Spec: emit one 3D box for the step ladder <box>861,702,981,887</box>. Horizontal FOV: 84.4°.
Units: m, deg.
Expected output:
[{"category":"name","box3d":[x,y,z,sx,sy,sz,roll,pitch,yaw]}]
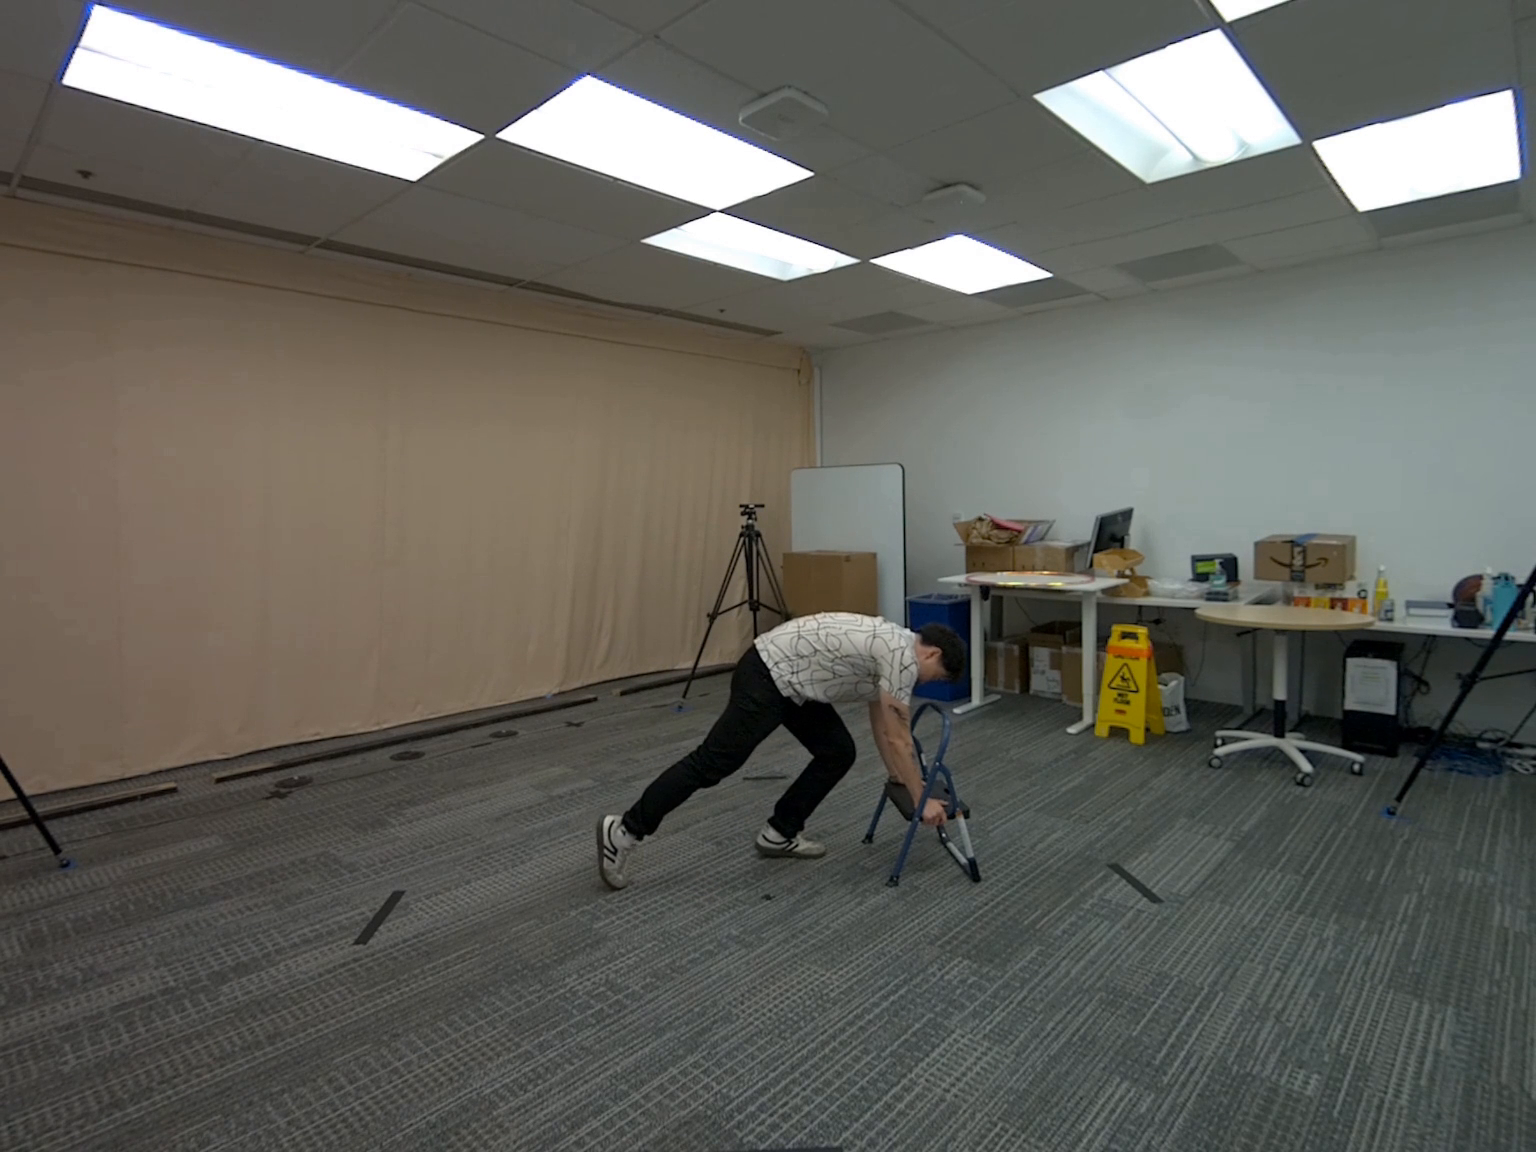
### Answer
[{"category":"step ladder","box3d":[0.588,0.804,3.248,0.347,0.605,0.434,-1,4,-6]}]
